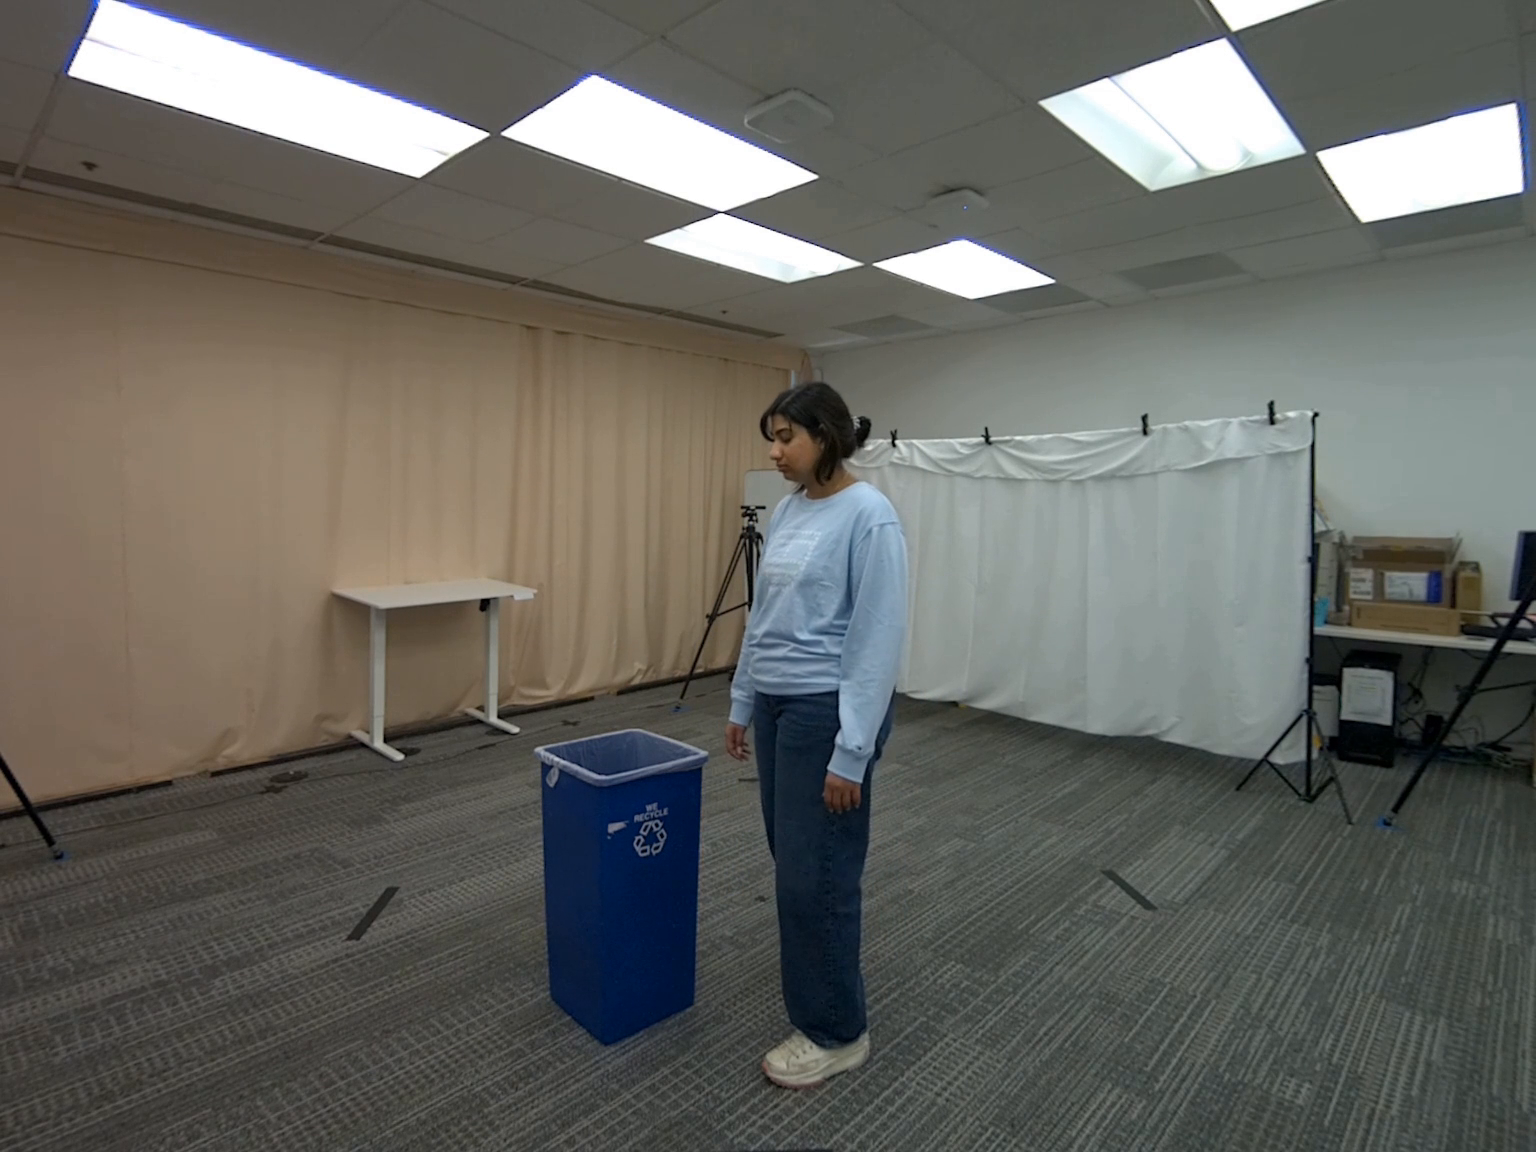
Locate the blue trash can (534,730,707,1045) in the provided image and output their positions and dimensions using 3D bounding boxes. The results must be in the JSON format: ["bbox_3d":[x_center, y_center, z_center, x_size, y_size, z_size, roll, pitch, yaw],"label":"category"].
[{"bbox_3d":[-0.399,0.844,2.357,0.366,0.712,0.386,-2,4,-43],"label":"blue trash can"}]
